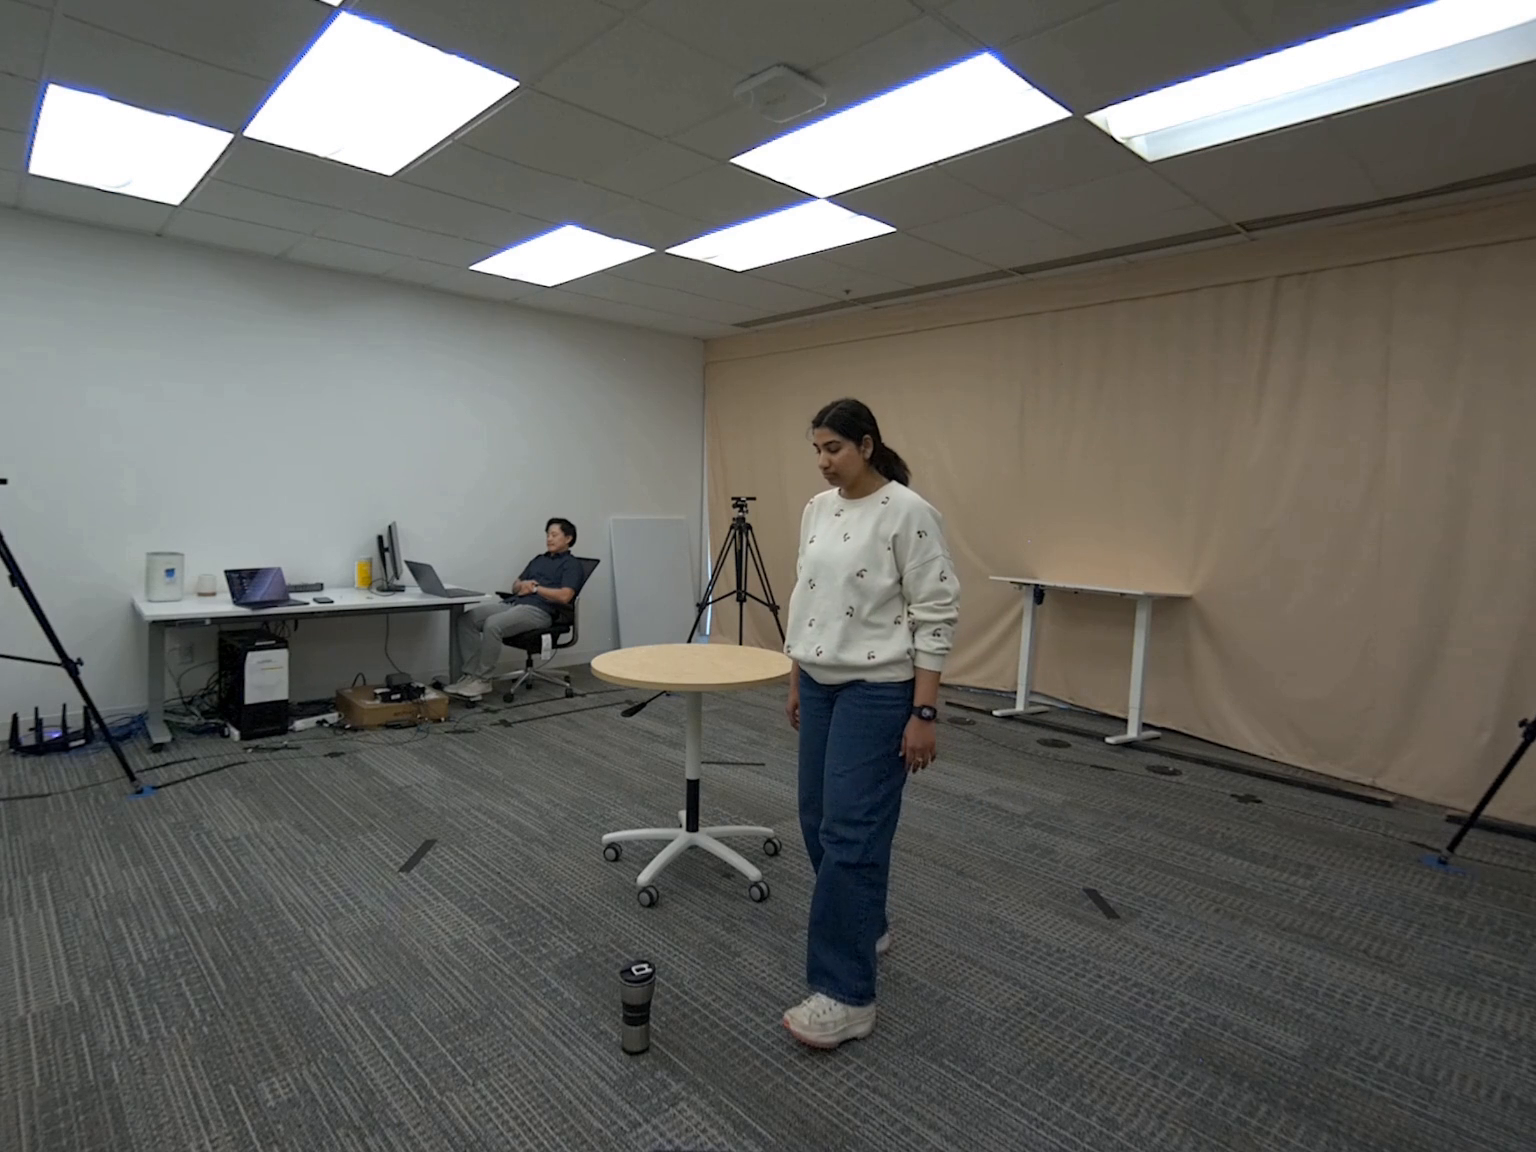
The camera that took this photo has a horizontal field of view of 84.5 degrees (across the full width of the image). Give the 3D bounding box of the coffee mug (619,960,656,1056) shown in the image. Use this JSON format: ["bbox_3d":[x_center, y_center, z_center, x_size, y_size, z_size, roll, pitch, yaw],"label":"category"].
[{"bbox_3d":[-0.319,1.091,2.141,0.090,0.202,0.119,0,4,42],"label":"coffee mug"}]
